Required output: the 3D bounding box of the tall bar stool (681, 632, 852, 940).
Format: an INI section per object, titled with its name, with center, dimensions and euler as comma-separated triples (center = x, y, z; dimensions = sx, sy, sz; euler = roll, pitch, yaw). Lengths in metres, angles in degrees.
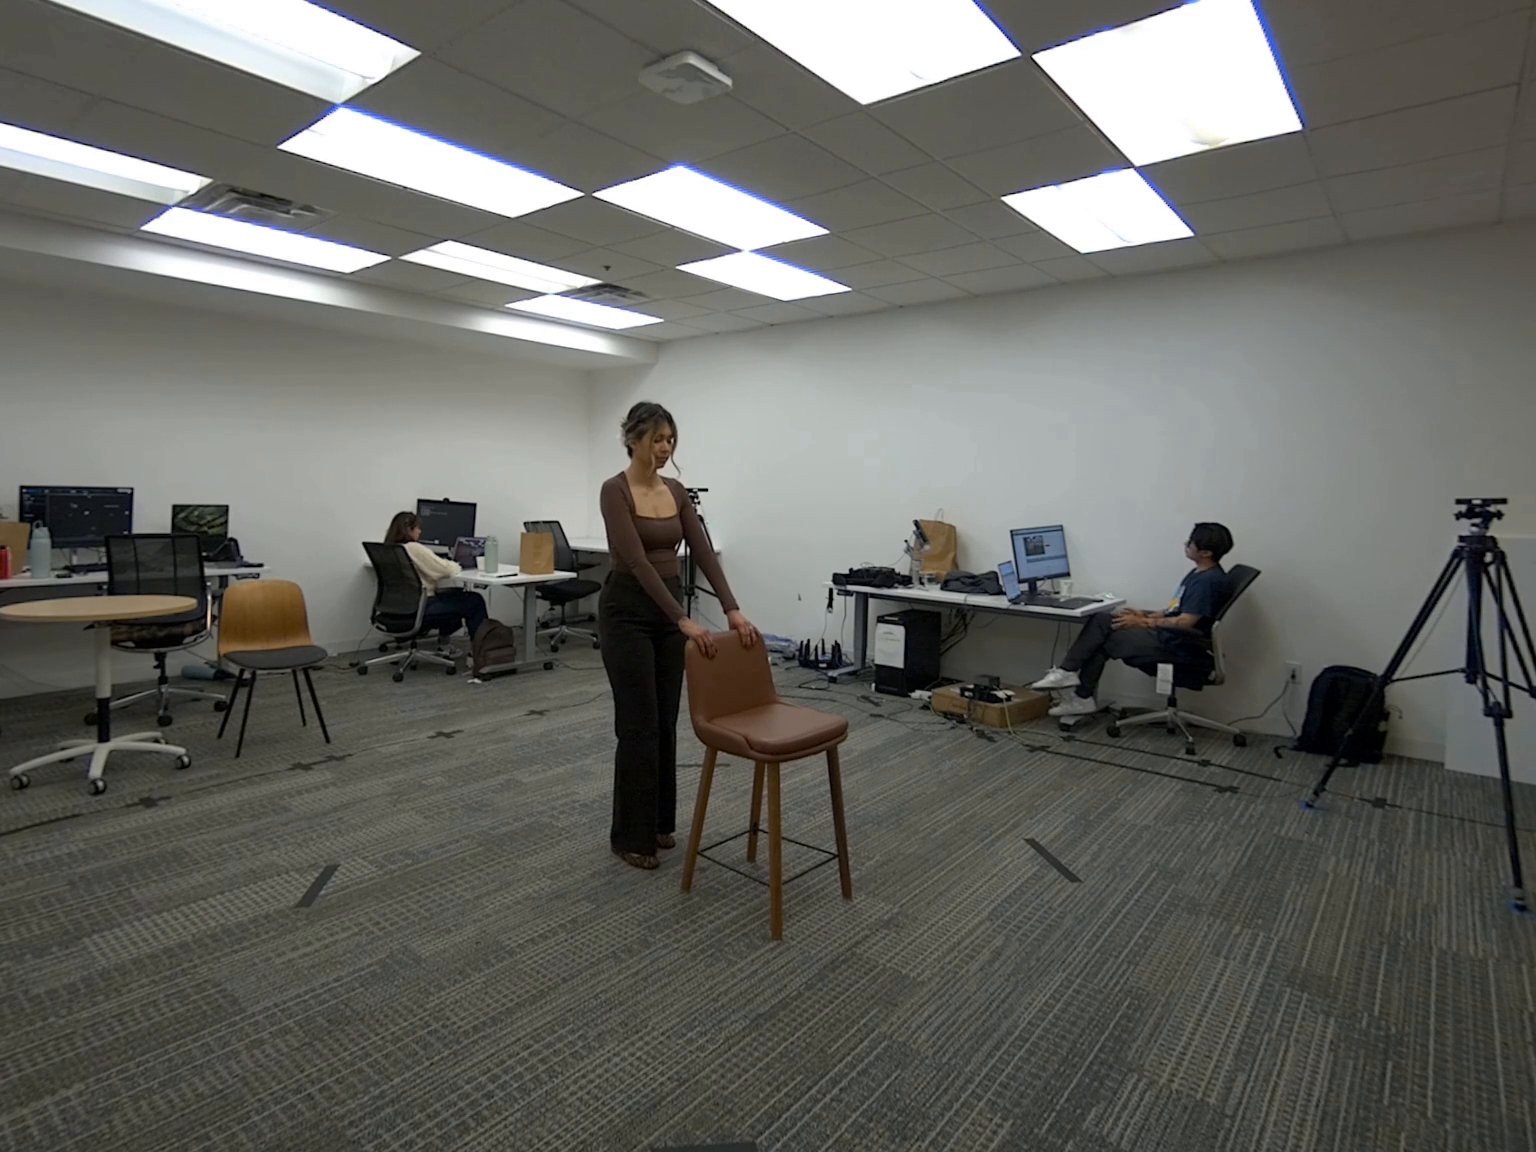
[tall bar stool]
center = -0.013, 0.656, 2.905
dimensions = 0.483, 0.888, 0.442
euler = 1, 2, 42
